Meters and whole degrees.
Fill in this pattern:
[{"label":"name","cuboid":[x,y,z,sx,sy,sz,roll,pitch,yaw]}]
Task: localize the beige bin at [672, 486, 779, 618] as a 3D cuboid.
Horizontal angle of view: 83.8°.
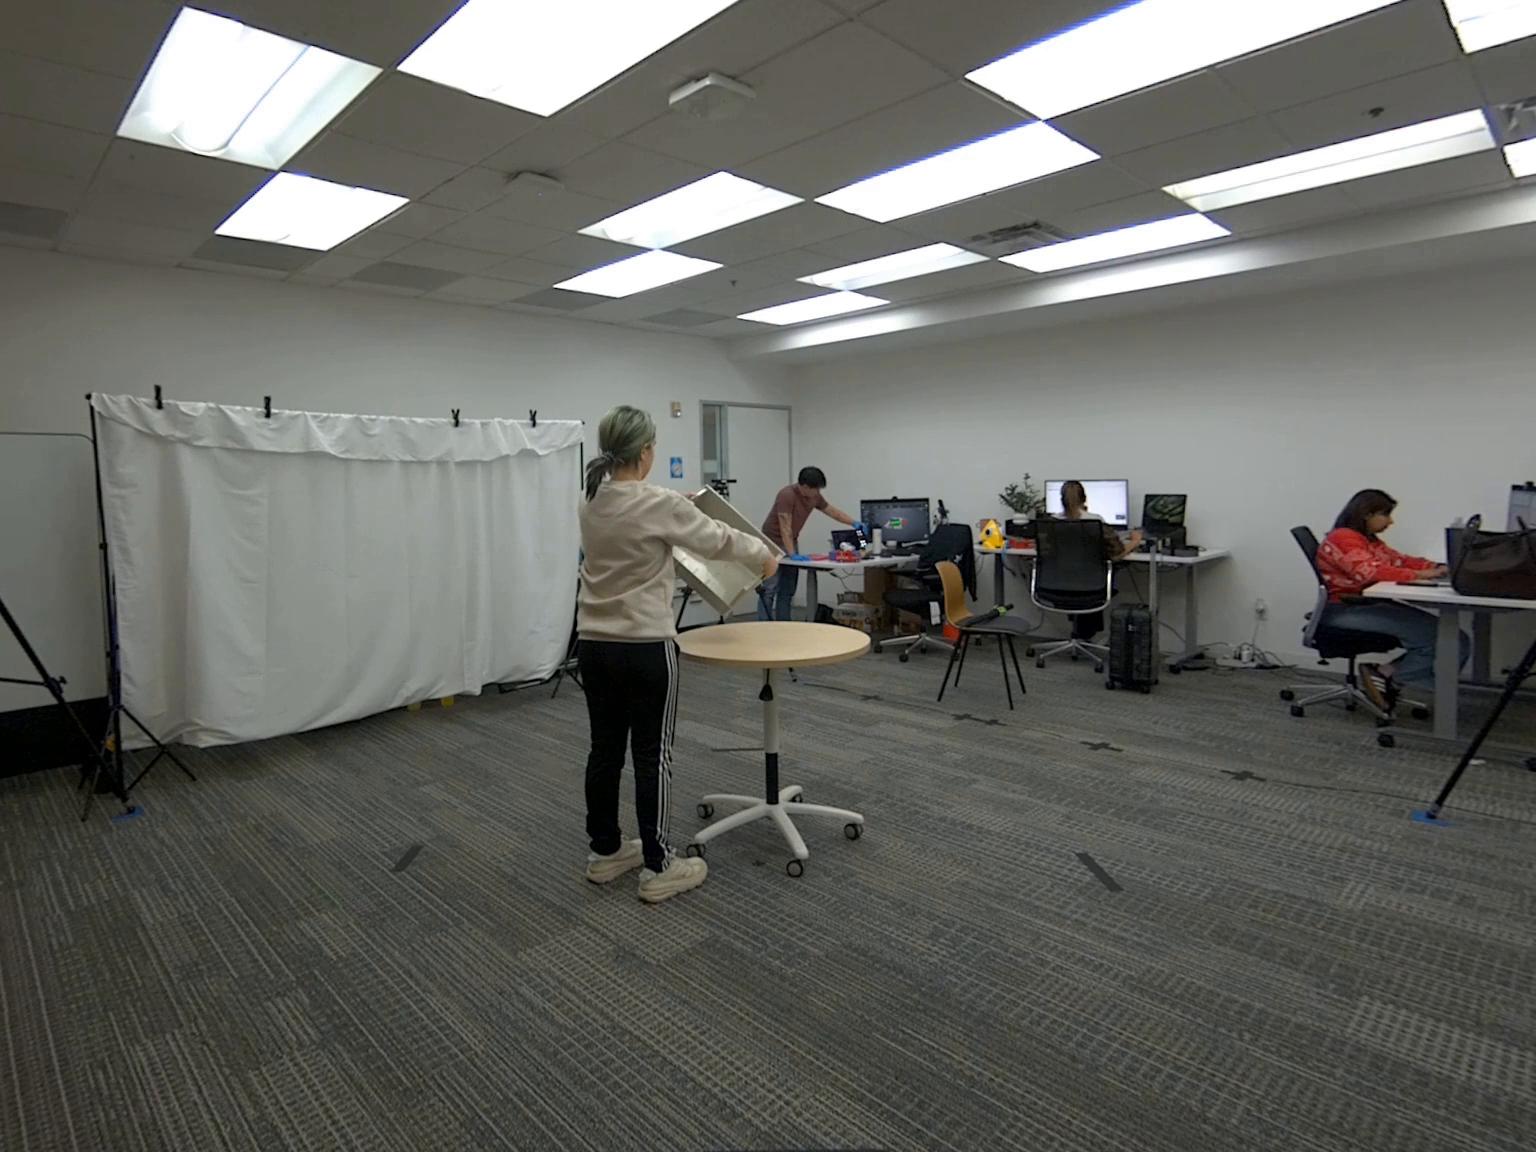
[{"label":"beige bin","cuboid":[-0.209,-0.094,3.291,0.425,0.188,0.376,41,34,4]}]
